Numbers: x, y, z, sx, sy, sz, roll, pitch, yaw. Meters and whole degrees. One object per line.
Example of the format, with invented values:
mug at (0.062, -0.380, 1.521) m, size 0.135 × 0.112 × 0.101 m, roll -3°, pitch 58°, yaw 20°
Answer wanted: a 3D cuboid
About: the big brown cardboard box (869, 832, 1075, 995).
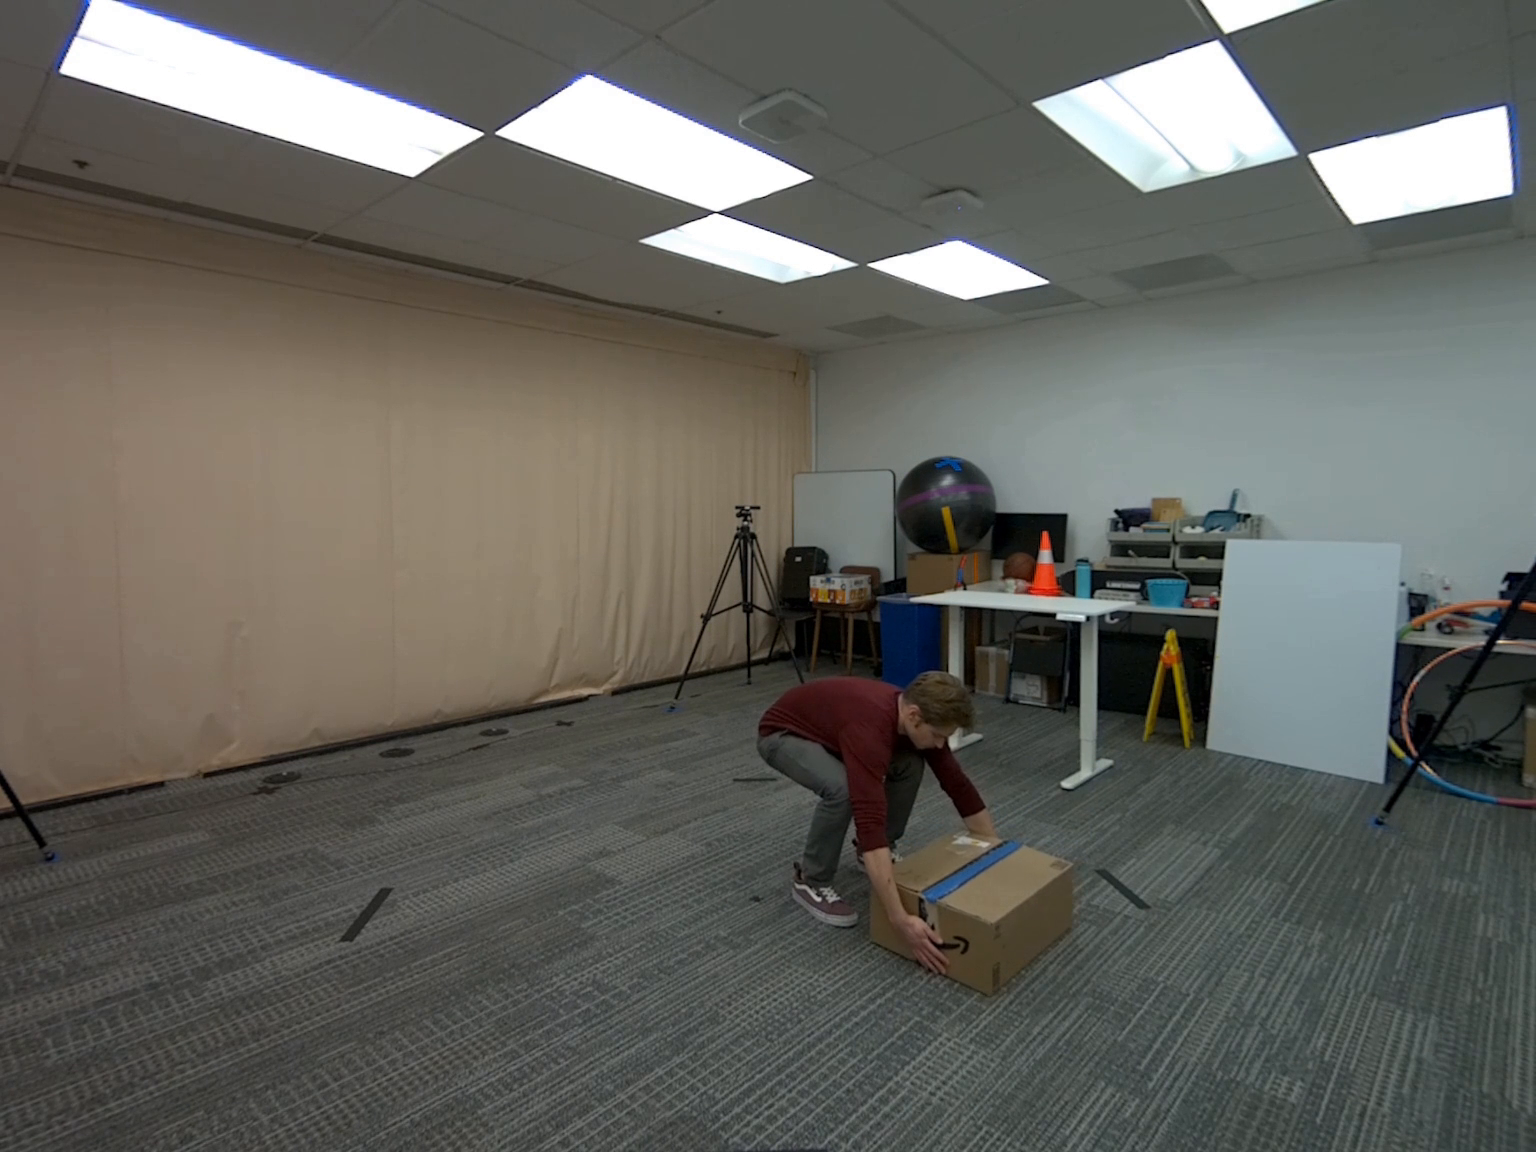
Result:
big brown cardboard box at (0.672, 1.048, 2.719) m, size 0.432 × 0.232 × 0.571 m, roll 6°, pitch 8°, yaw 43°
